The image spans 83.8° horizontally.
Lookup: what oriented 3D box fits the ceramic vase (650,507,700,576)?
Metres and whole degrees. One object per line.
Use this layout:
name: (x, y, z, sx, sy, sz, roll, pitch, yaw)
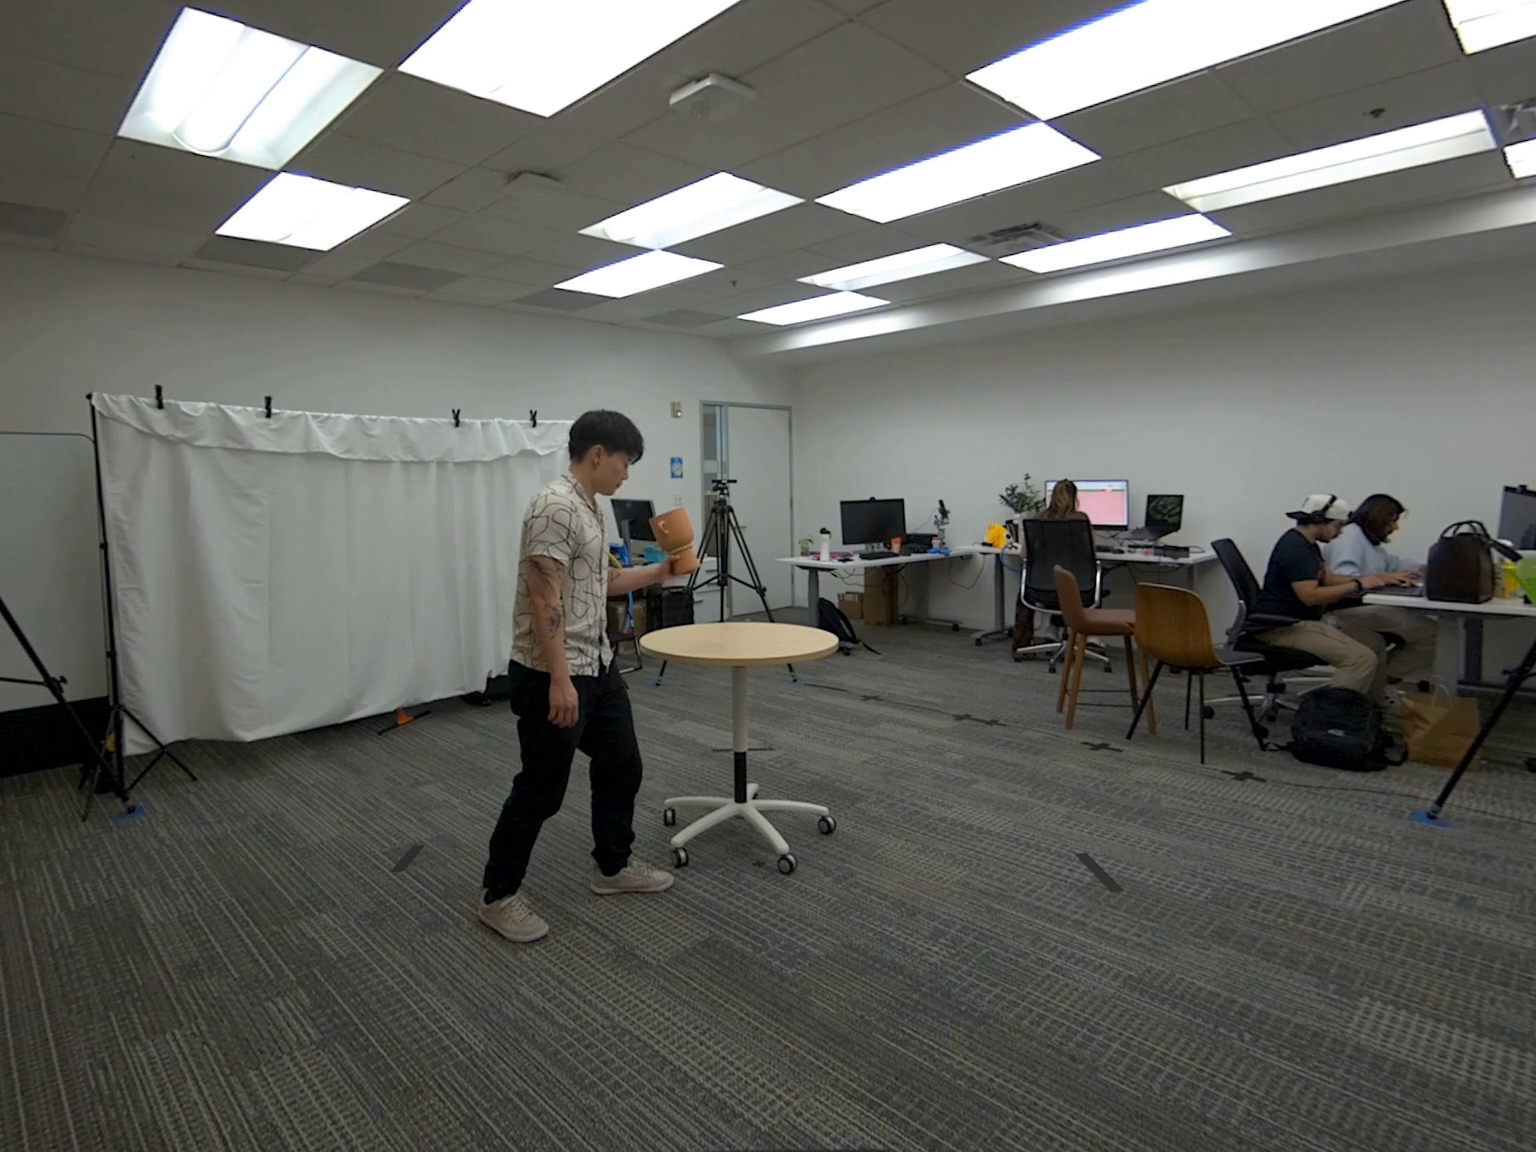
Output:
ceramic vase: (-0.327, -0.119, 3.030, 0.156, 0.219, 0.137, -22, 2, -32)
